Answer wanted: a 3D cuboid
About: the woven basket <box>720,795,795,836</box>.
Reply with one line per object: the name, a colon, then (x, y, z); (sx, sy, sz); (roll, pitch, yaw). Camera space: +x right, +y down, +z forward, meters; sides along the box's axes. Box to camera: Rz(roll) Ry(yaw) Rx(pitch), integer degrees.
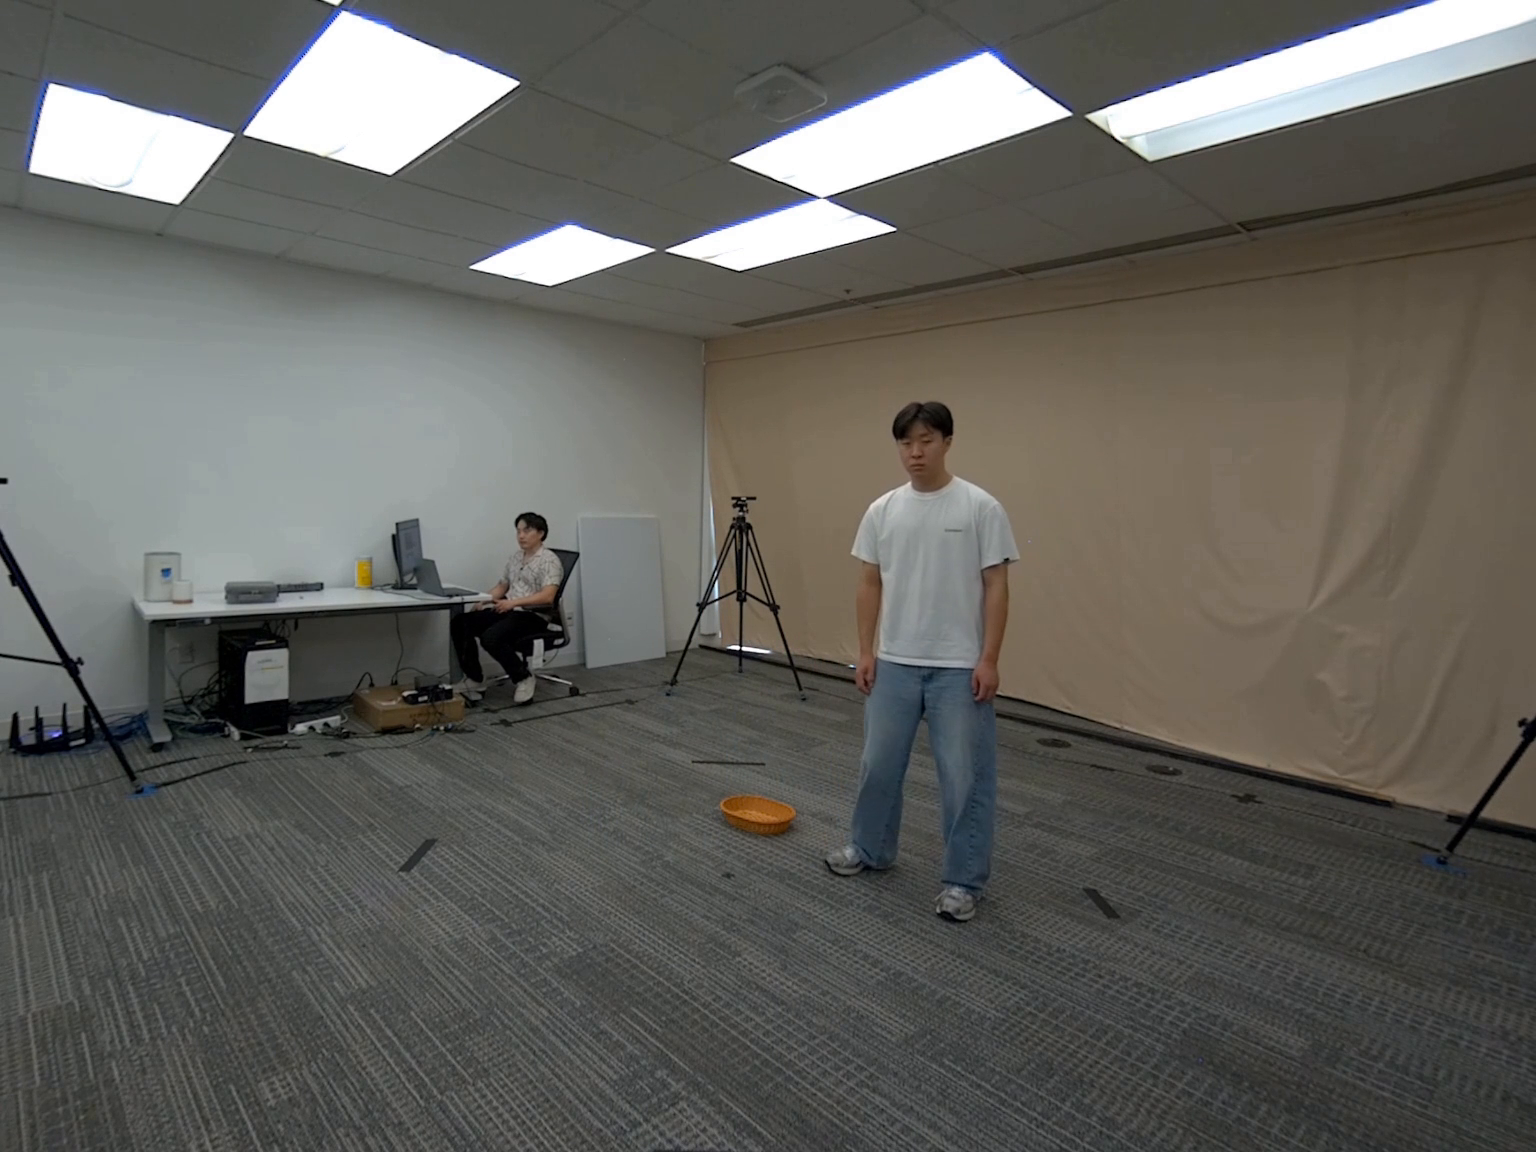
woven basket: (-0.061, 1.026, 3.608); (0.359, 0.073, 0.247); (6, 7, 39)
